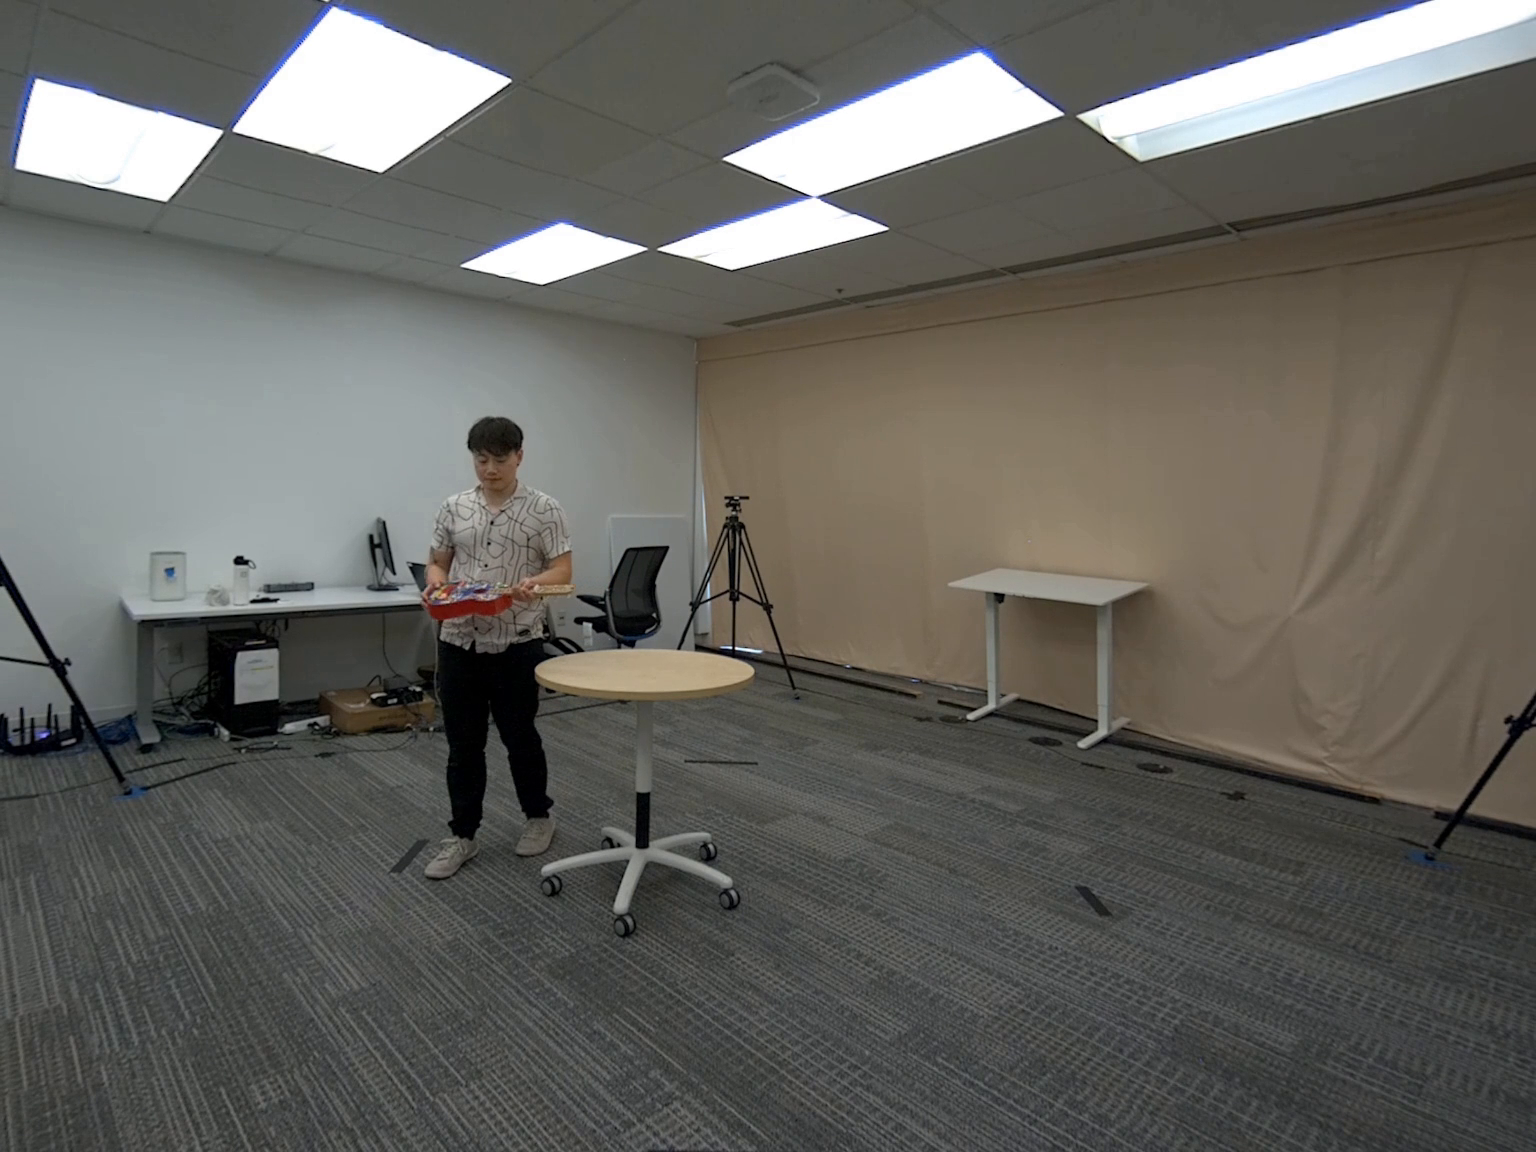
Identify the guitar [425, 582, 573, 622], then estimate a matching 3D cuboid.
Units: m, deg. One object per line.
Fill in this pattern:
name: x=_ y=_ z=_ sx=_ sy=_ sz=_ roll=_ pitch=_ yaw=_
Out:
guitar: x=-0.933 y=0.090 z=2.873 sx=0.502 sy=0.070 sz=0.194 roll=3 pitch=21 yaw=9
